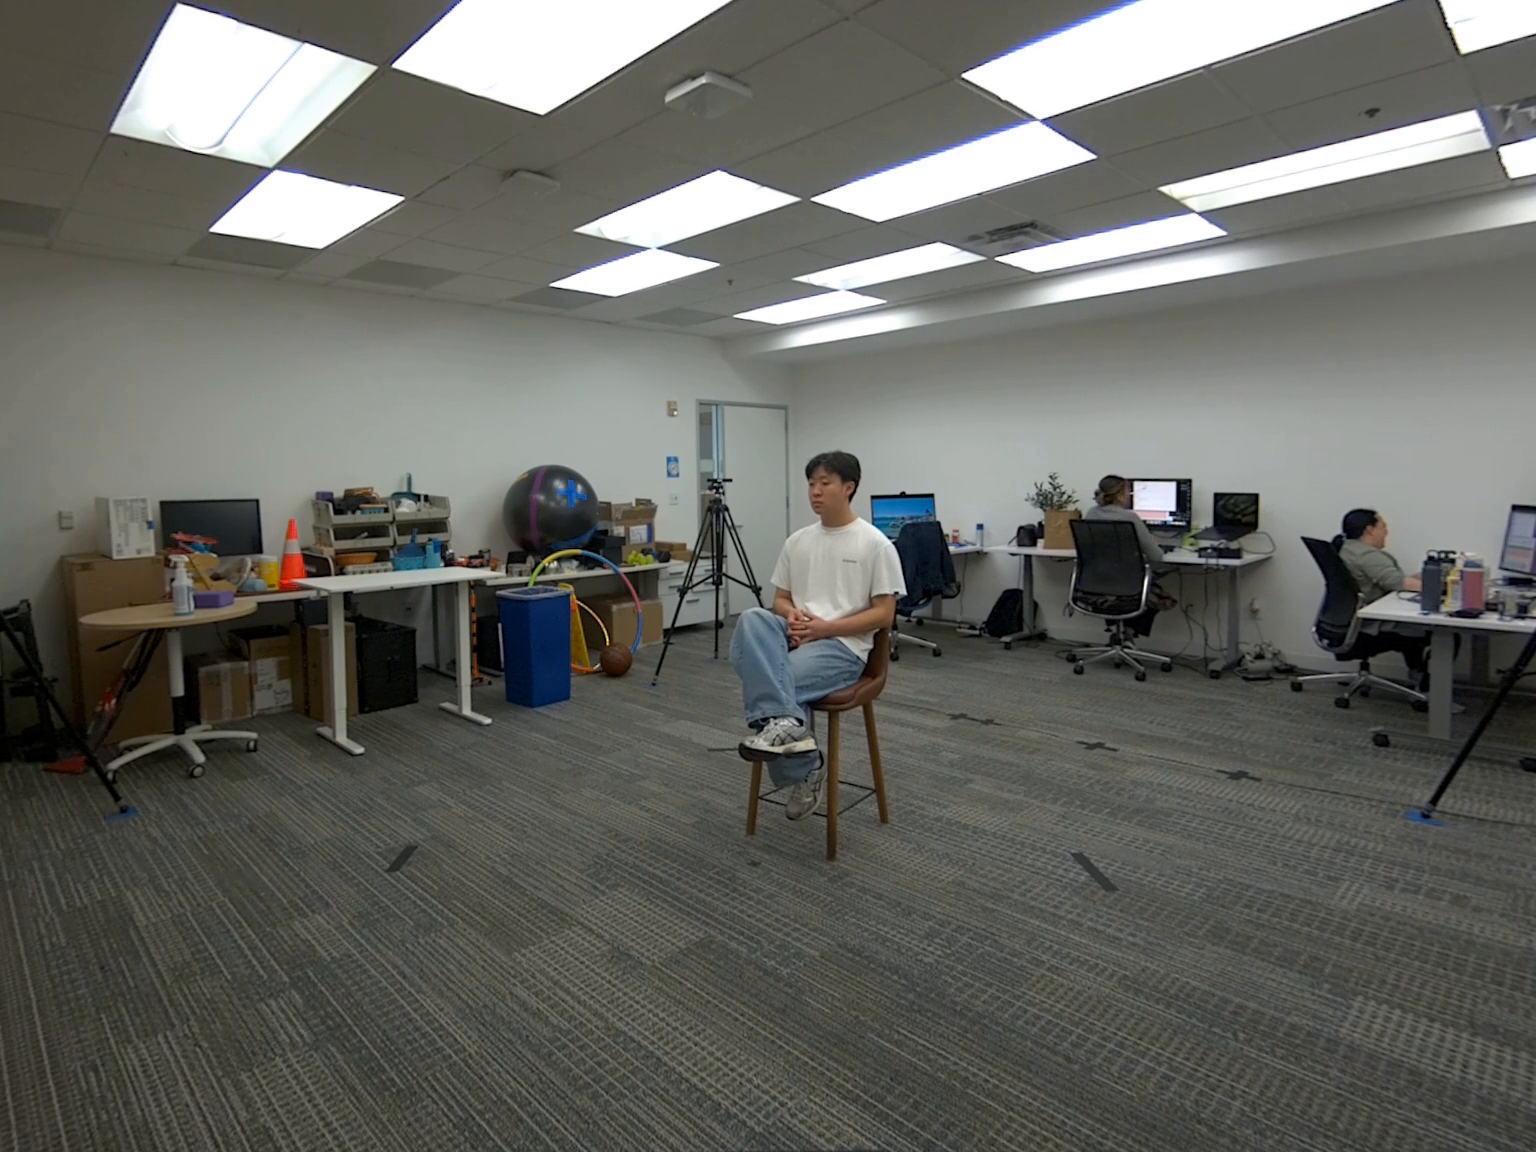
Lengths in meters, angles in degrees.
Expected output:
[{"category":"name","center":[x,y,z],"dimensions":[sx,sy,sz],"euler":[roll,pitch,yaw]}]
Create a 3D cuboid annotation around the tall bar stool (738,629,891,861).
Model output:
[{"category":"tall bar stool","center":[0.216,0.577,3.391],"dimensions":[0.470,0.888,0.455],"euler":[4,4,38]}]
